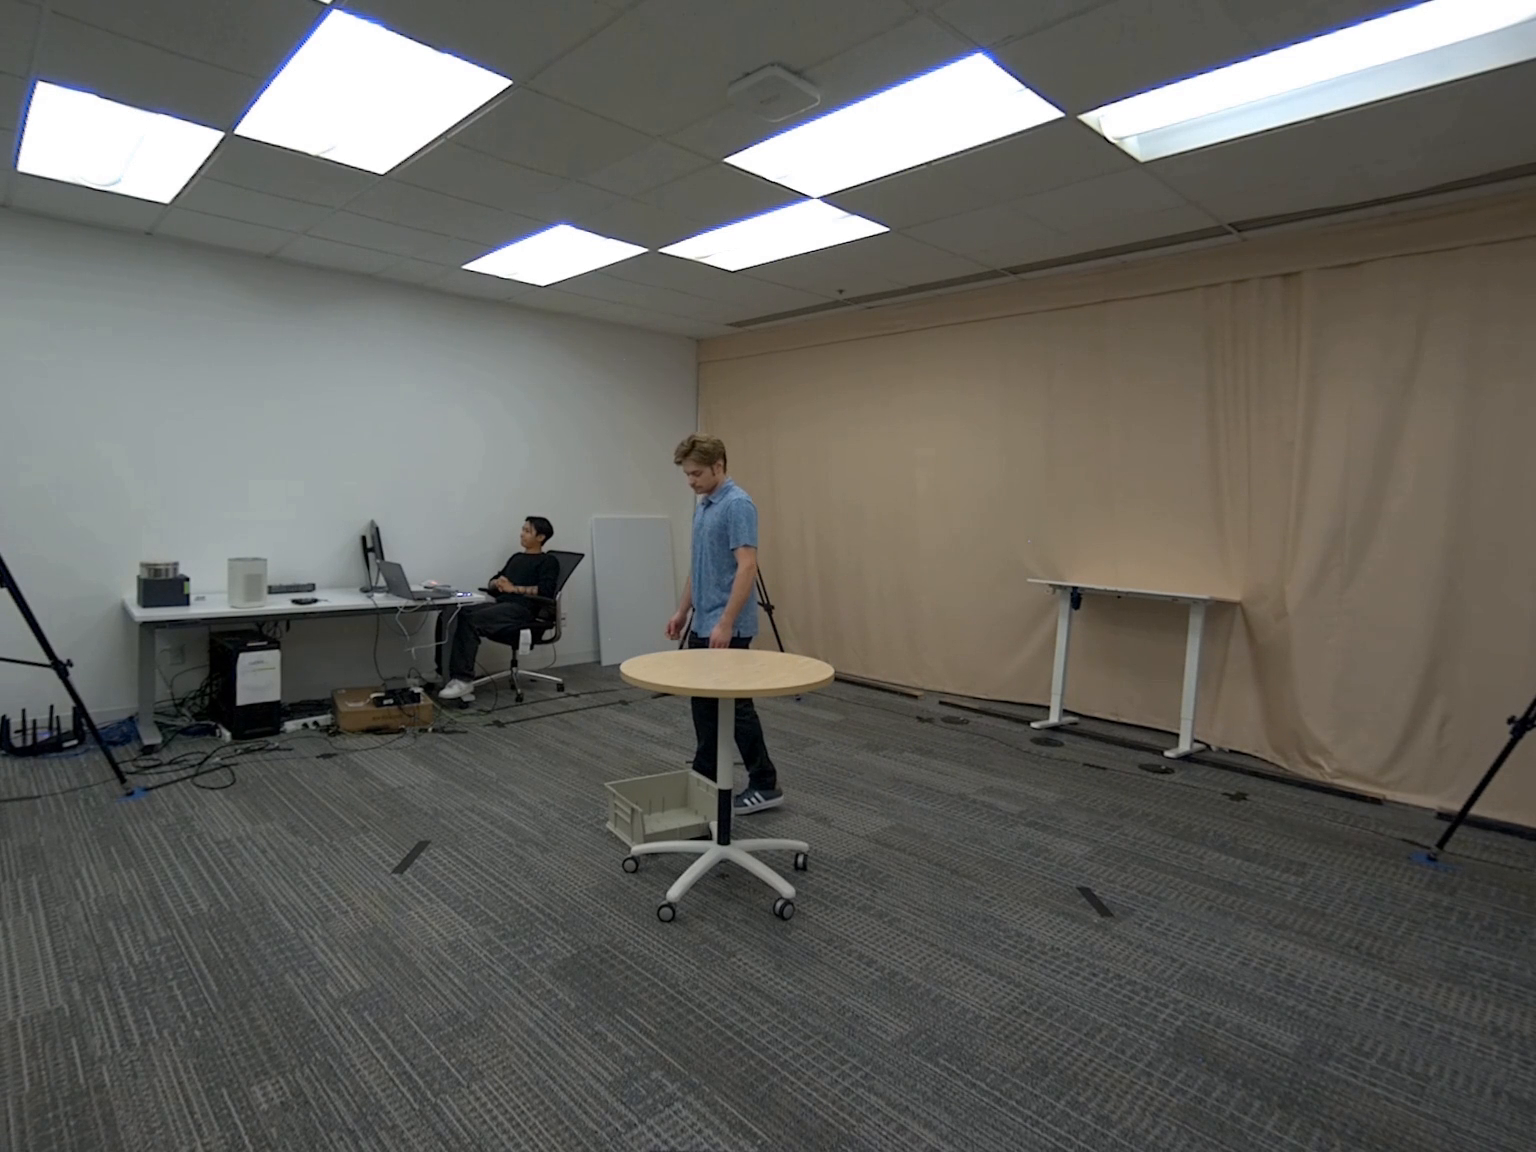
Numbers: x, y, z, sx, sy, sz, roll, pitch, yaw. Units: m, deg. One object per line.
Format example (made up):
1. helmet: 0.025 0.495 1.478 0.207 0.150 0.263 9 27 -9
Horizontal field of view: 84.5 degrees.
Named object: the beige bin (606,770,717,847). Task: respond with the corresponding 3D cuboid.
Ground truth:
1. beige bin: -0.423 0.977 3.508 0.413 0.188 0.386 -2 5 -34
